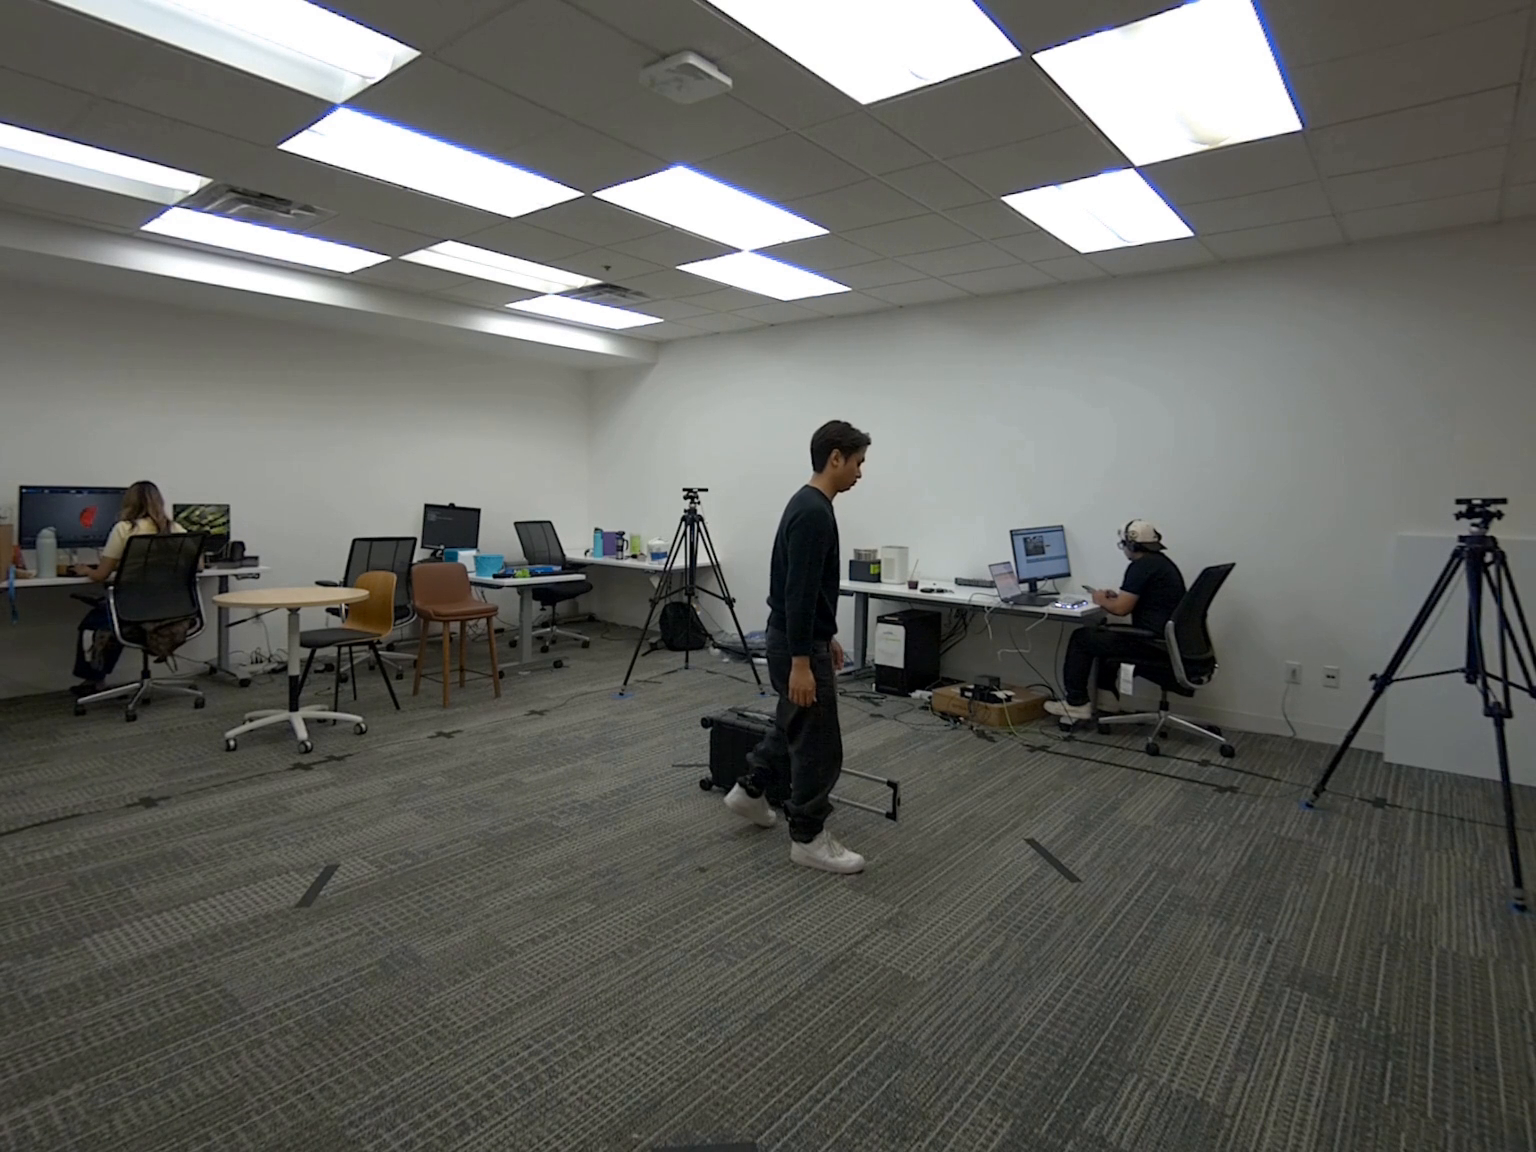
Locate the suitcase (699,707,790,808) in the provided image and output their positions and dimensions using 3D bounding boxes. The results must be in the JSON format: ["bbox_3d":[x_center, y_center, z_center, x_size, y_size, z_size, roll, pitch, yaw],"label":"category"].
[{"bbox_3d":[0.145,0.826,3.751,1.010,0.382,0.250,5,7,34],"label":"suitcase"}]
